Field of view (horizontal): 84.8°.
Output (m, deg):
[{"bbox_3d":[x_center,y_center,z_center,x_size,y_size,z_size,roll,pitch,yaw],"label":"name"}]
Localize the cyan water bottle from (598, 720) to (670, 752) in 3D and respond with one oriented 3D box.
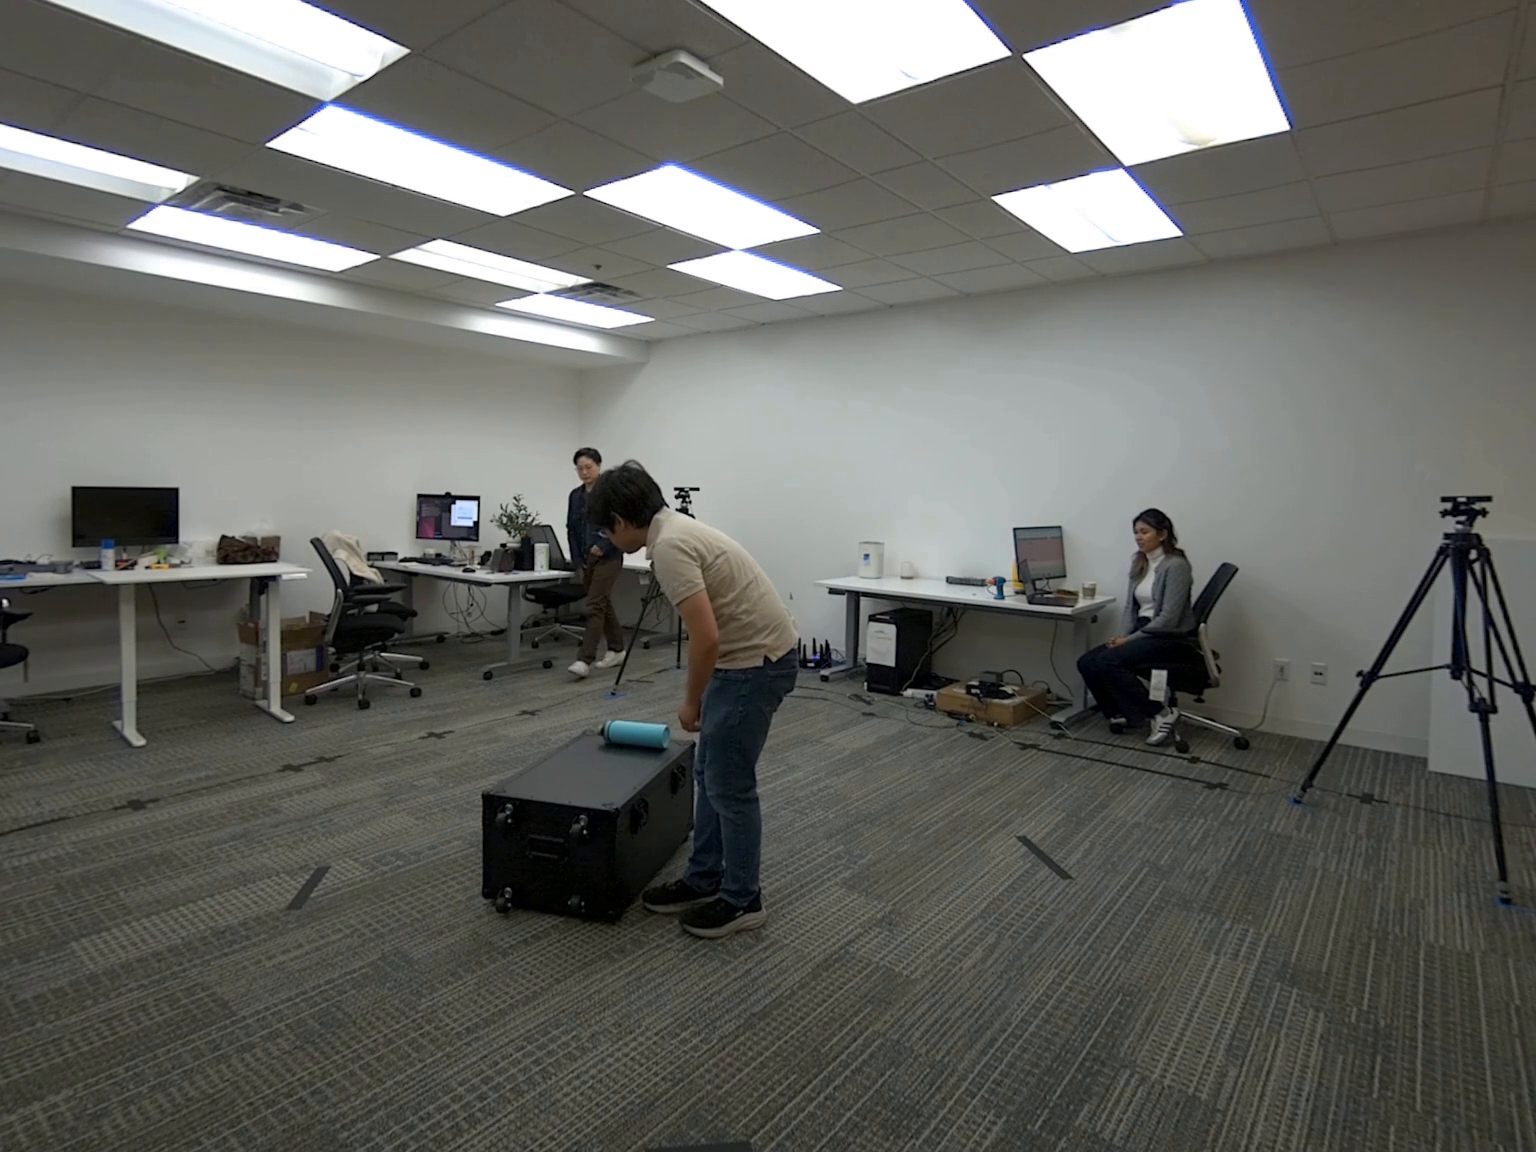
[{"bbox_3d":[-0.541,0.616,3.342,0.288,0.092,0.091,1,4,17],"label":"cyan water bottle"}]
